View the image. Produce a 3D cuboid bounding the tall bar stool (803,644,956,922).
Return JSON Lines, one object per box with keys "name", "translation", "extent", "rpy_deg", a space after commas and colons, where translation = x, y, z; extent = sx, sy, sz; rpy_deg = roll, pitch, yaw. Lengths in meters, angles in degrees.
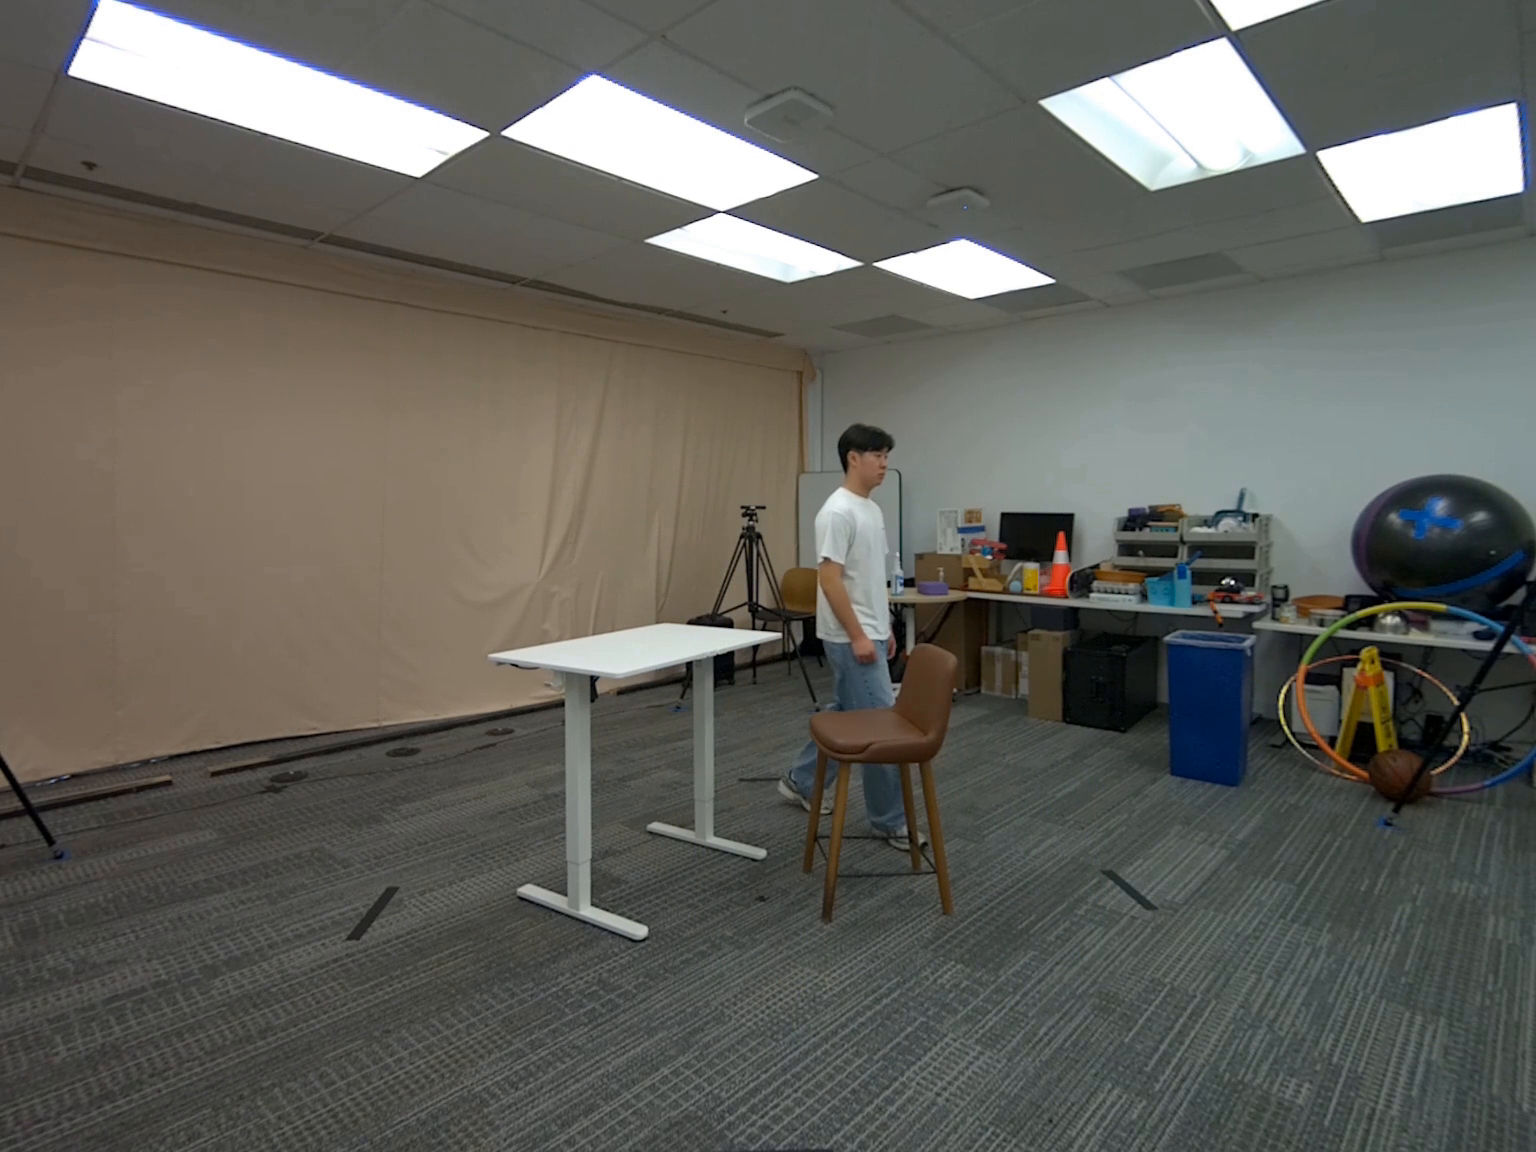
{"name": "tall bar stool", "translation": [0.389, 0.707, 3.001], "extent": [0.465, 0.888, 0.461], "rpy_deg": [2, 4, -7]}
